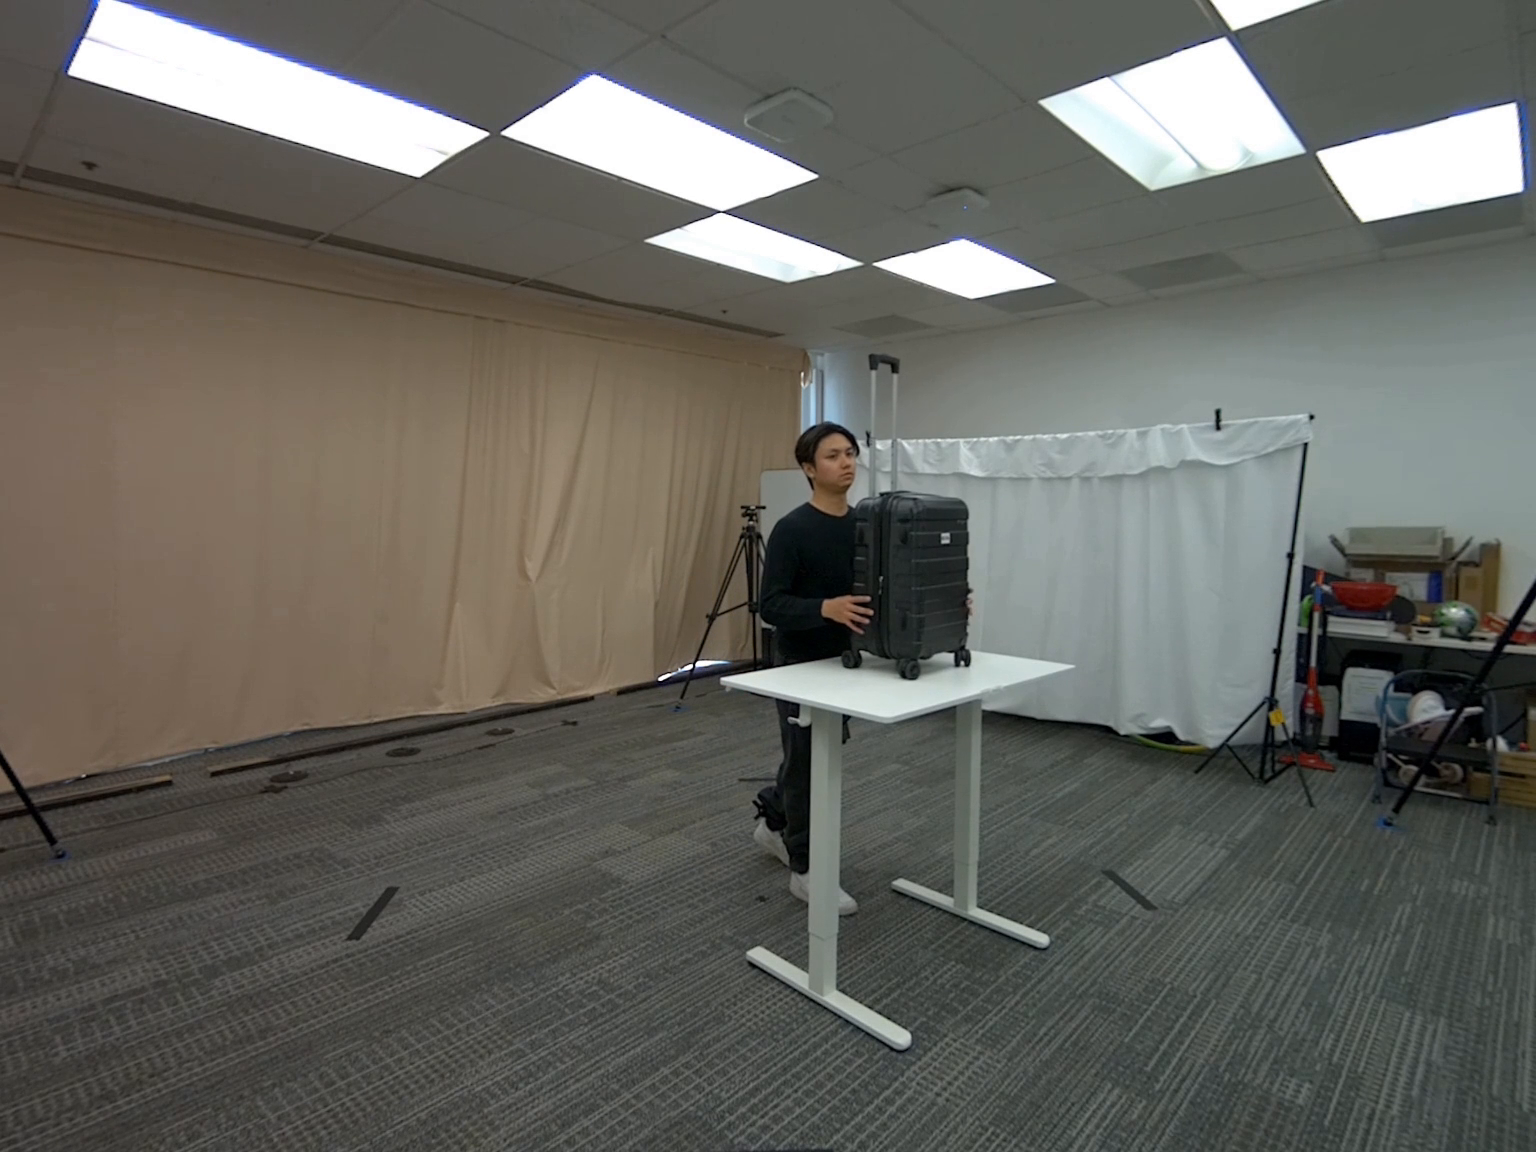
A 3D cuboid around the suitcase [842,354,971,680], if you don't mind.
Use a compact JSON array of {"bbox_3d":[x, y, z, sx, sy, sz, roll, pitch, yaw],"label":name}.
[{"bbox_3d":[0.466,-0.195,2.622,0.266,0.976,0.372,6,5,43],"label":"suitcase"}]
